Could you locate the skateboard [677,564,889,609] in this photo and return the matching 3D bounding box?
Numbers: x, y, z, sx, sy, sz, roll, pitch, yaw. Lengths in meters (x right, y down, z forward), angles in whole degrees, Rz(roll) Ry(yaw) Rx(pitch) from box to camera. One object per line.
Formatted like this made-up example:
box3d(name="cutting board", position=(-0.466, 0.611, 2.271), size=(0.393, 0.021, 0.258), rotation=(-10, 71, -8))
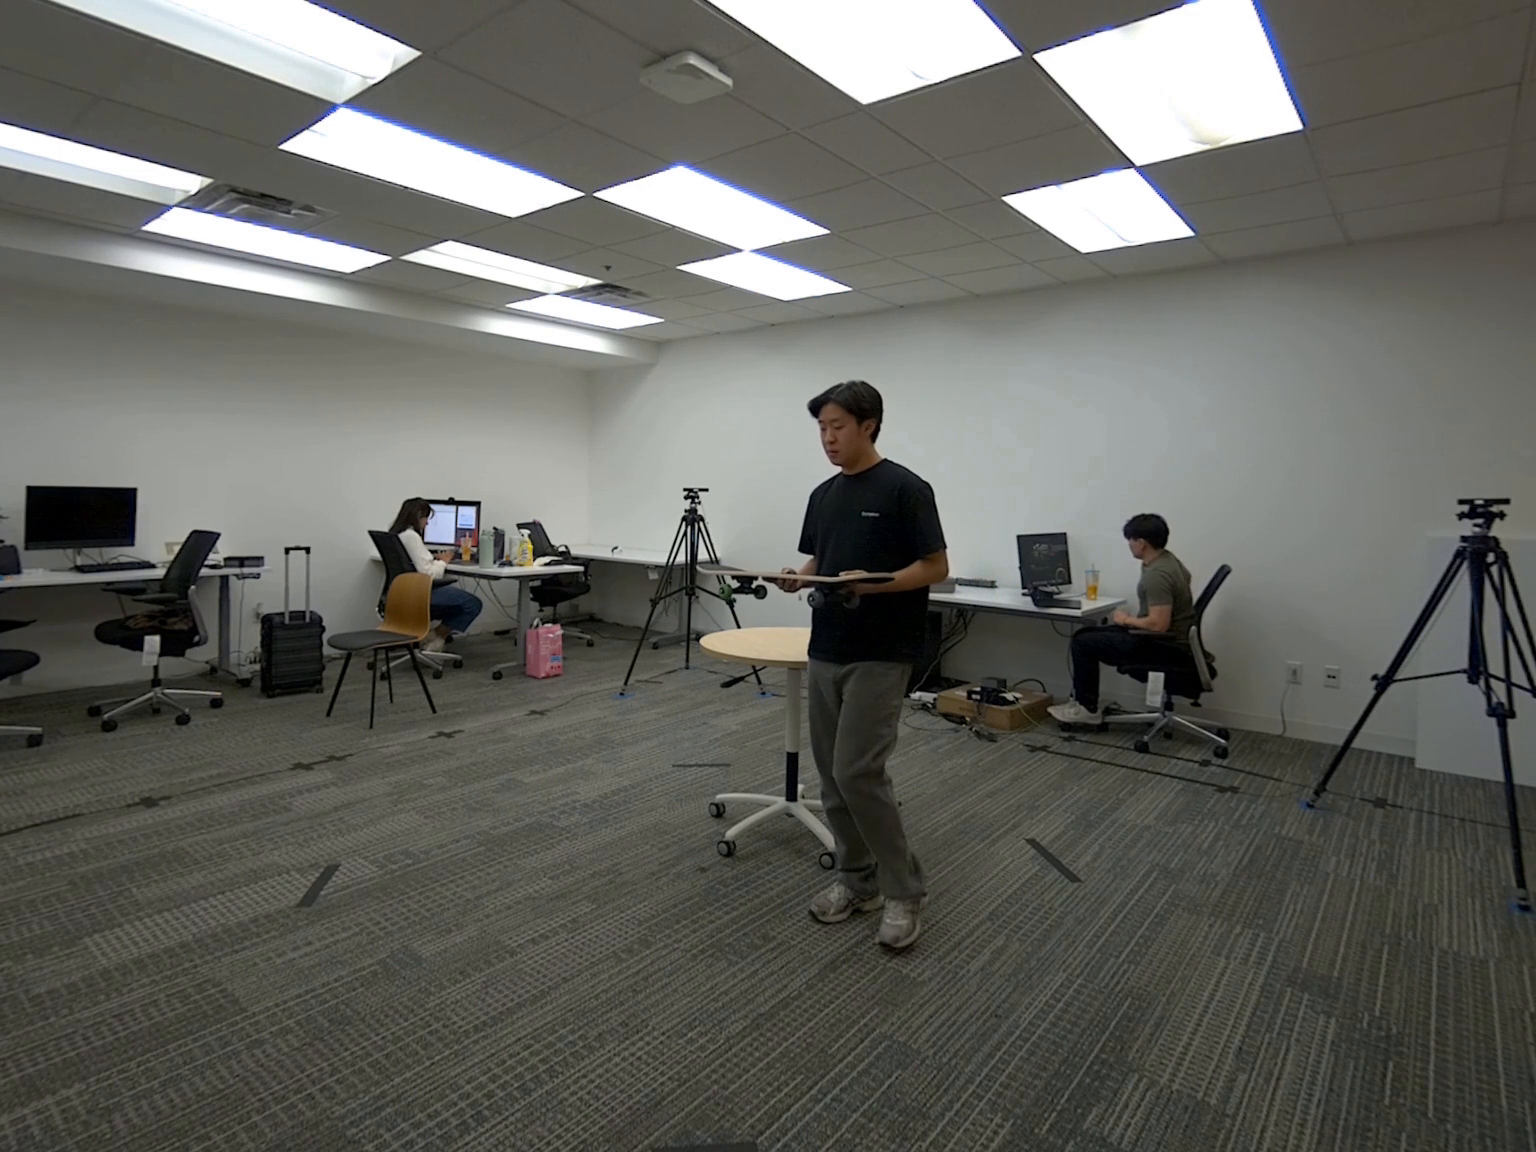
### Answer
box3d(name="skateboard", position=(0.055, 0.032, 2.611), size=(0.811, 0.110, 0.187), rotation=(3, 0, 44))
